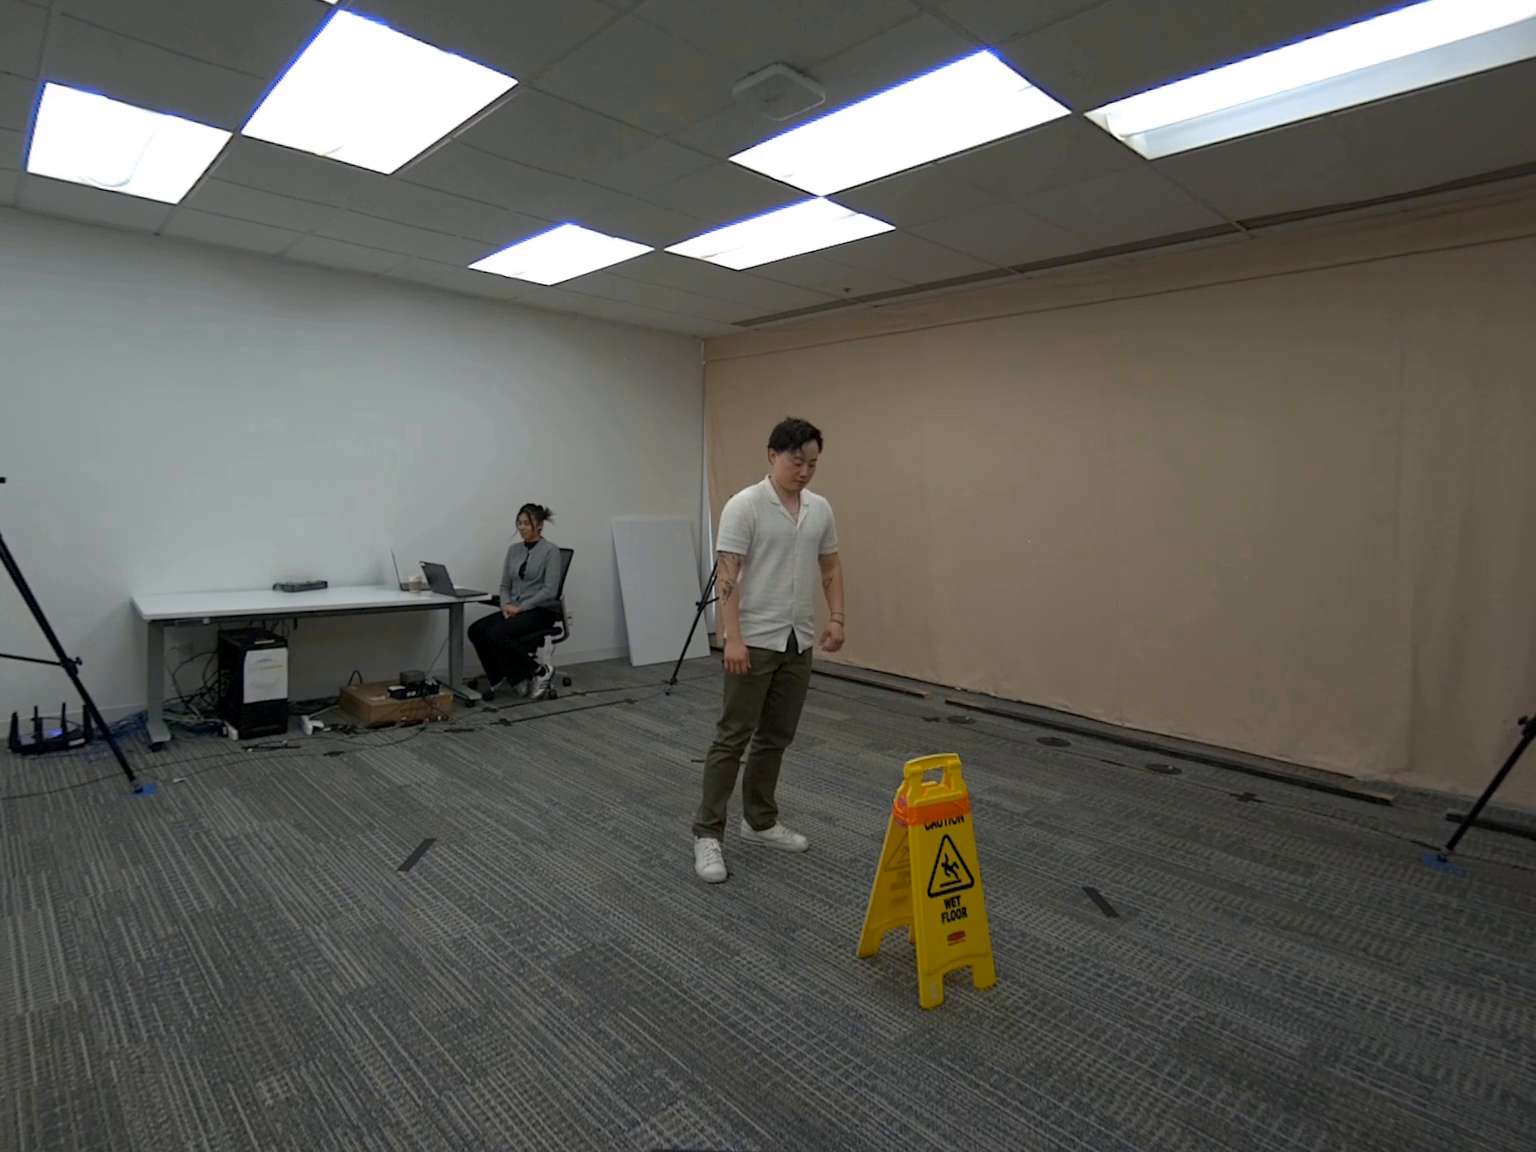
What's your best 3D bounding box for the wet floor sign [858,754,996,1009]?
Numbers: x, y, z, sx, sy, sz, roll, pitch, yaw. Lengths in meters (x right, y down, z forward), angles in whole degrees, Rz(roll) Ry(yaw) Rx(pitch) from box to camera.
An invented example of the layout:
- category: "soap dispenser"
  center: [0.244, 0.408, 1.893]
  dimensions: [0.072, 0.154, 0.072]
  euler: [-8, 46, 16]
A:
- category: "wet floor sign"
  center: [0.468, 0.853, 2.483]
  dimensions: [0.276, 0.644, 0.296]
  euler: [0, 4, -31]
